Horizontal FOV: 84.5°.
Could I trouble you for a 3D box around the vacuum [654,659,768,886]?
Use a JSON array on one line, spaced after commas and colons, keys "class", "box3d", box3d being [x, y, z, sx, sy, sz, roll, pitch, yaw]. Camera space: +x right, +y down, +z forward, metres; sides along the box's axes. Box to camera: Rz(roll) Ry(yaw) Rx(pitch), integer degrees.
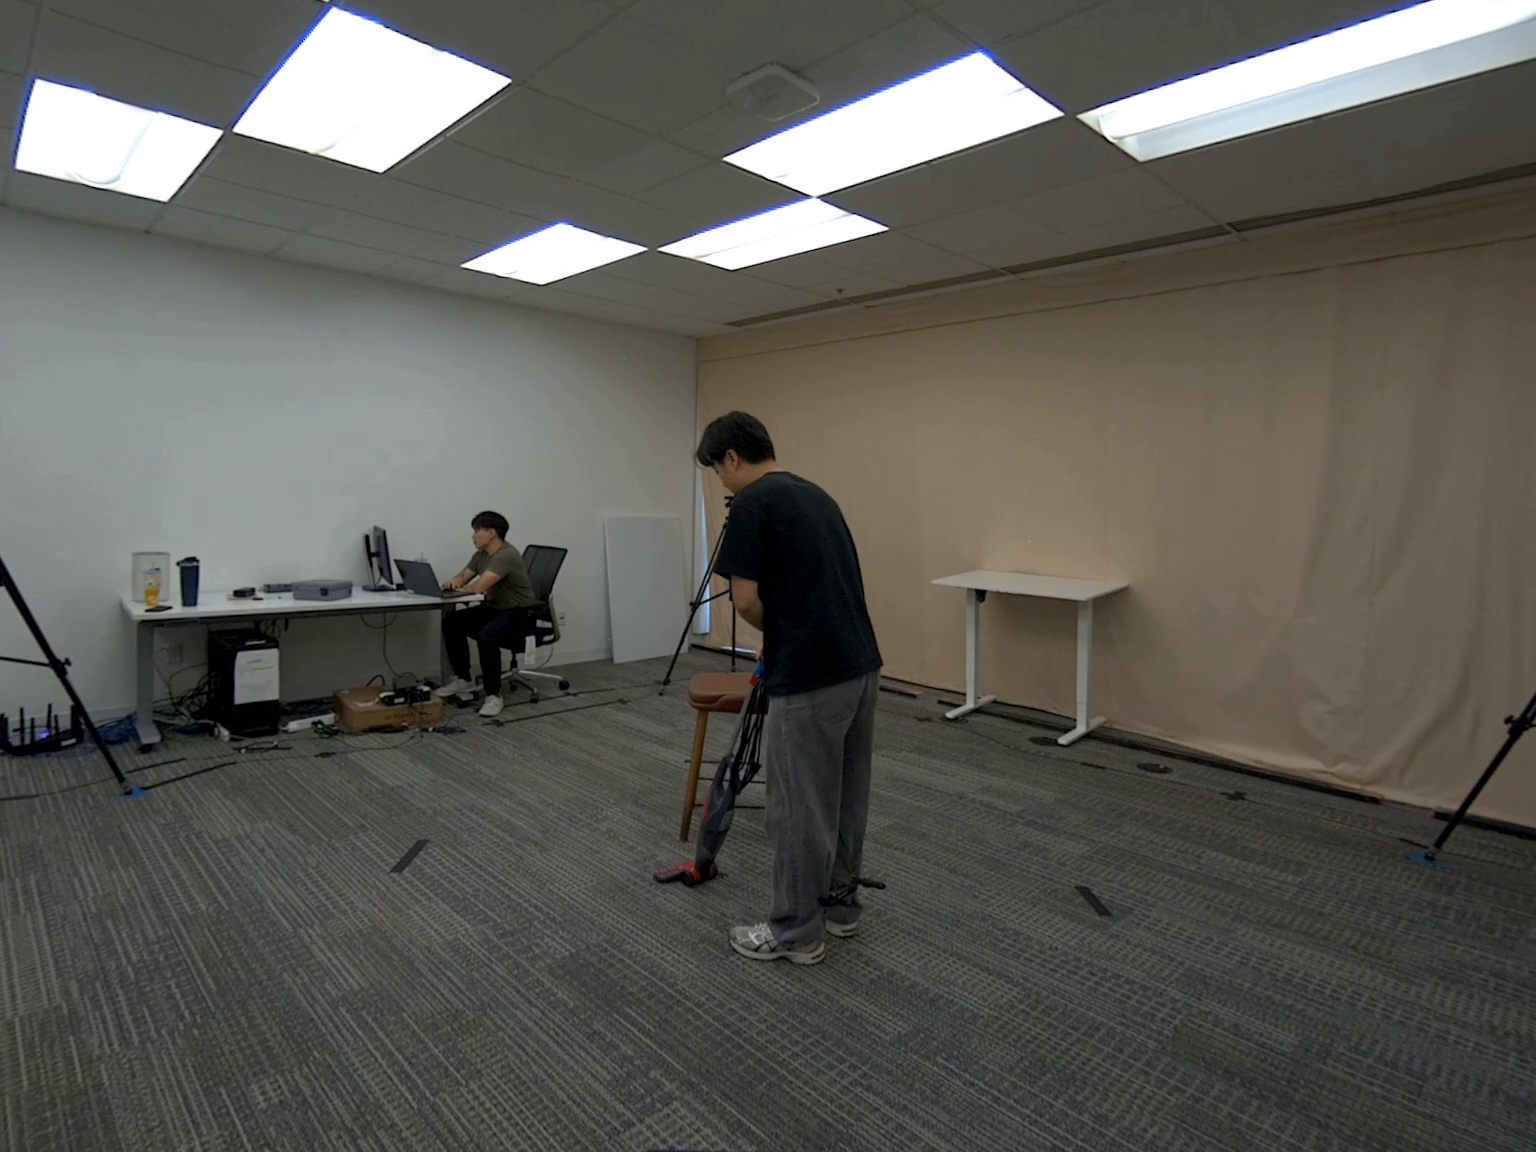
[{"class": "vacuum", "box3d": [-0.126, 0.652, 2.897, 0.247, 1.040, 0.148, -3, 31, -44]}]
